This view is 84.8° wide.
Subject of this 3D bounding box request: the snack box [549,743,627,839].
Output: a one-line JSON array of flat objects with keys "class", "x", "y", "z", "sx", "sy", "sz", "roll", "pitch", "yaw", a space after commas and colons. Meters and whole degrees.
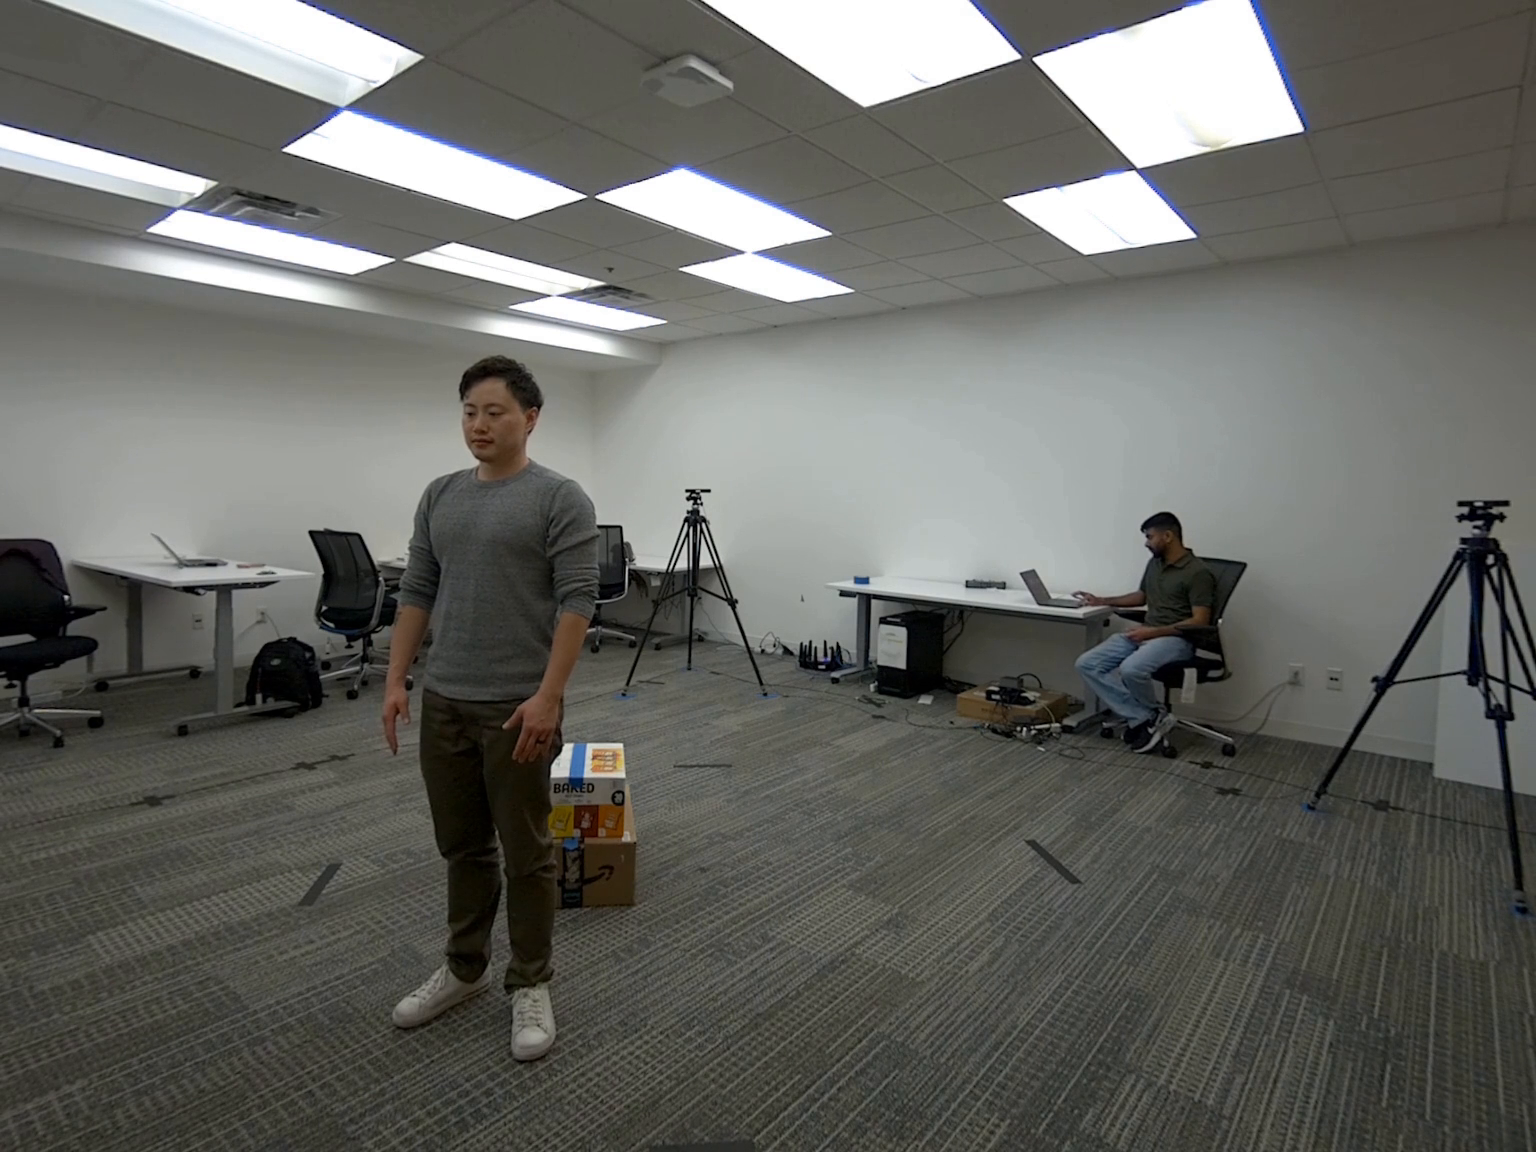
[{"class": "snack box", "x": -0.694, "y": 0.757, "z": 3.036, "sx": 0.337, "sy": 0.205, "sz": 0.410, "roll": 2, "pitch": 5, "yaw": -9}]
